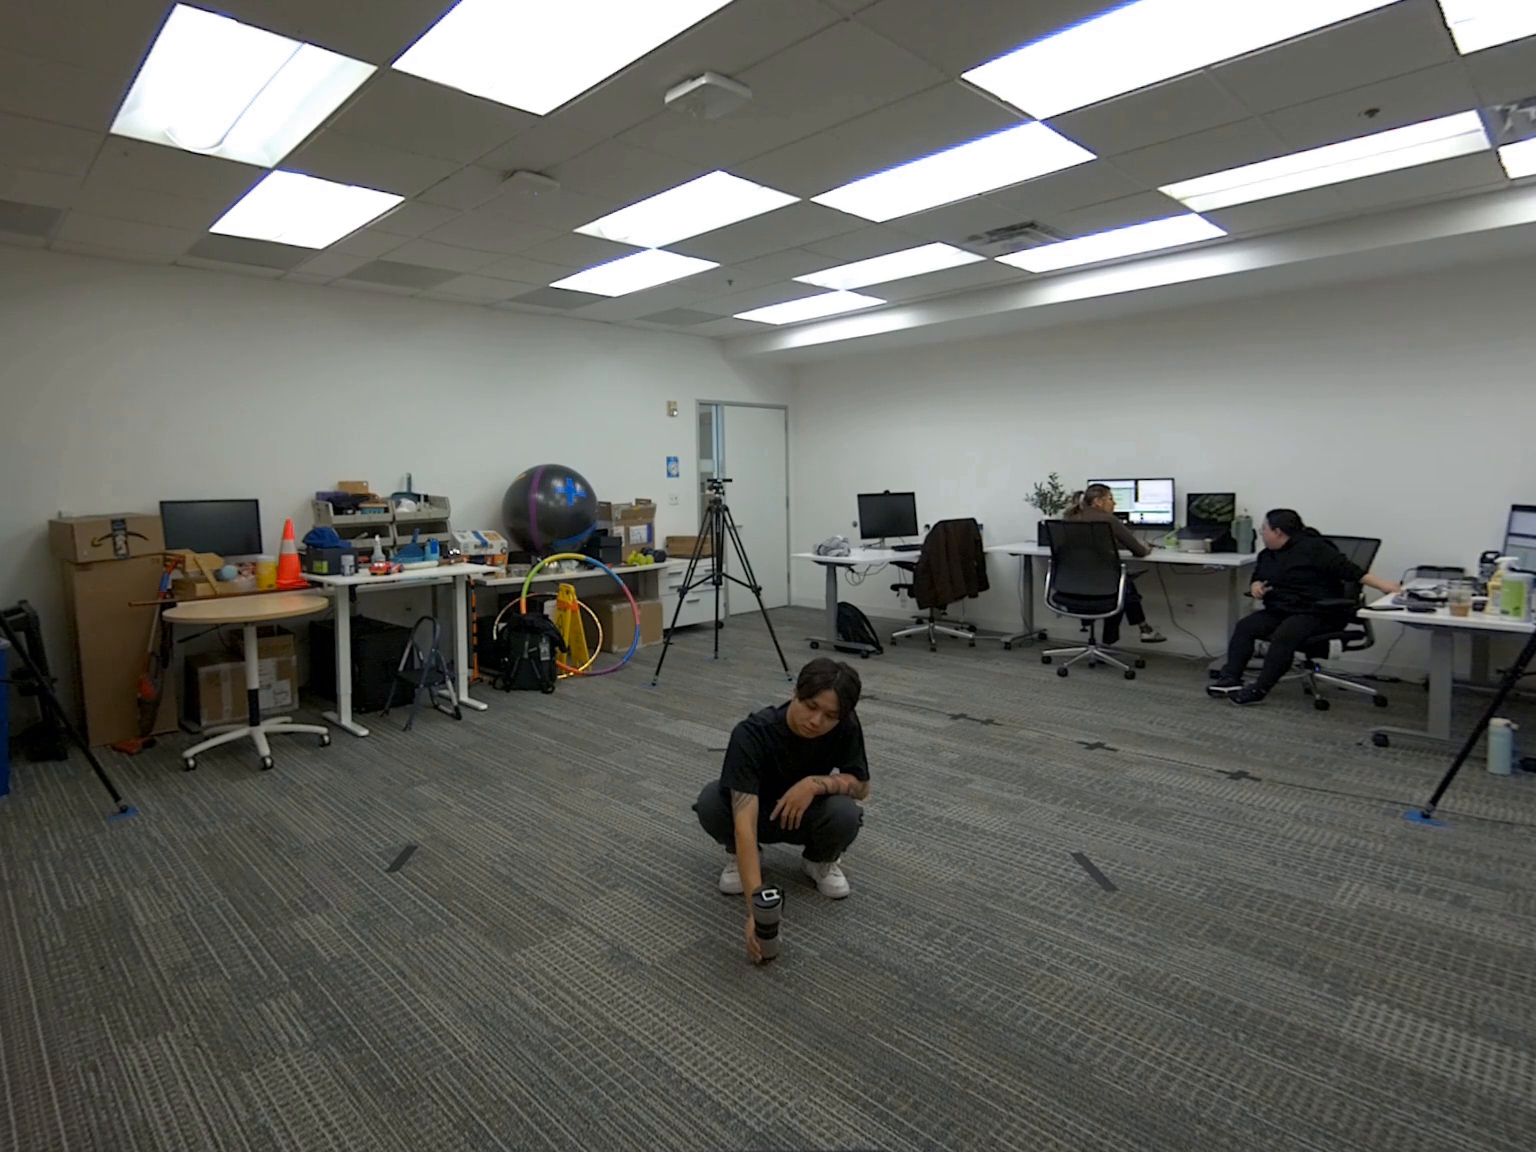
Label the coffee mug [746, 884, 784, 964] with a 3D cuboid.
[{"bbox_3d":[0.014,0.998,2.456,0.091,0.199,0.120,9,24,38],"label":"coffee mug"}]
